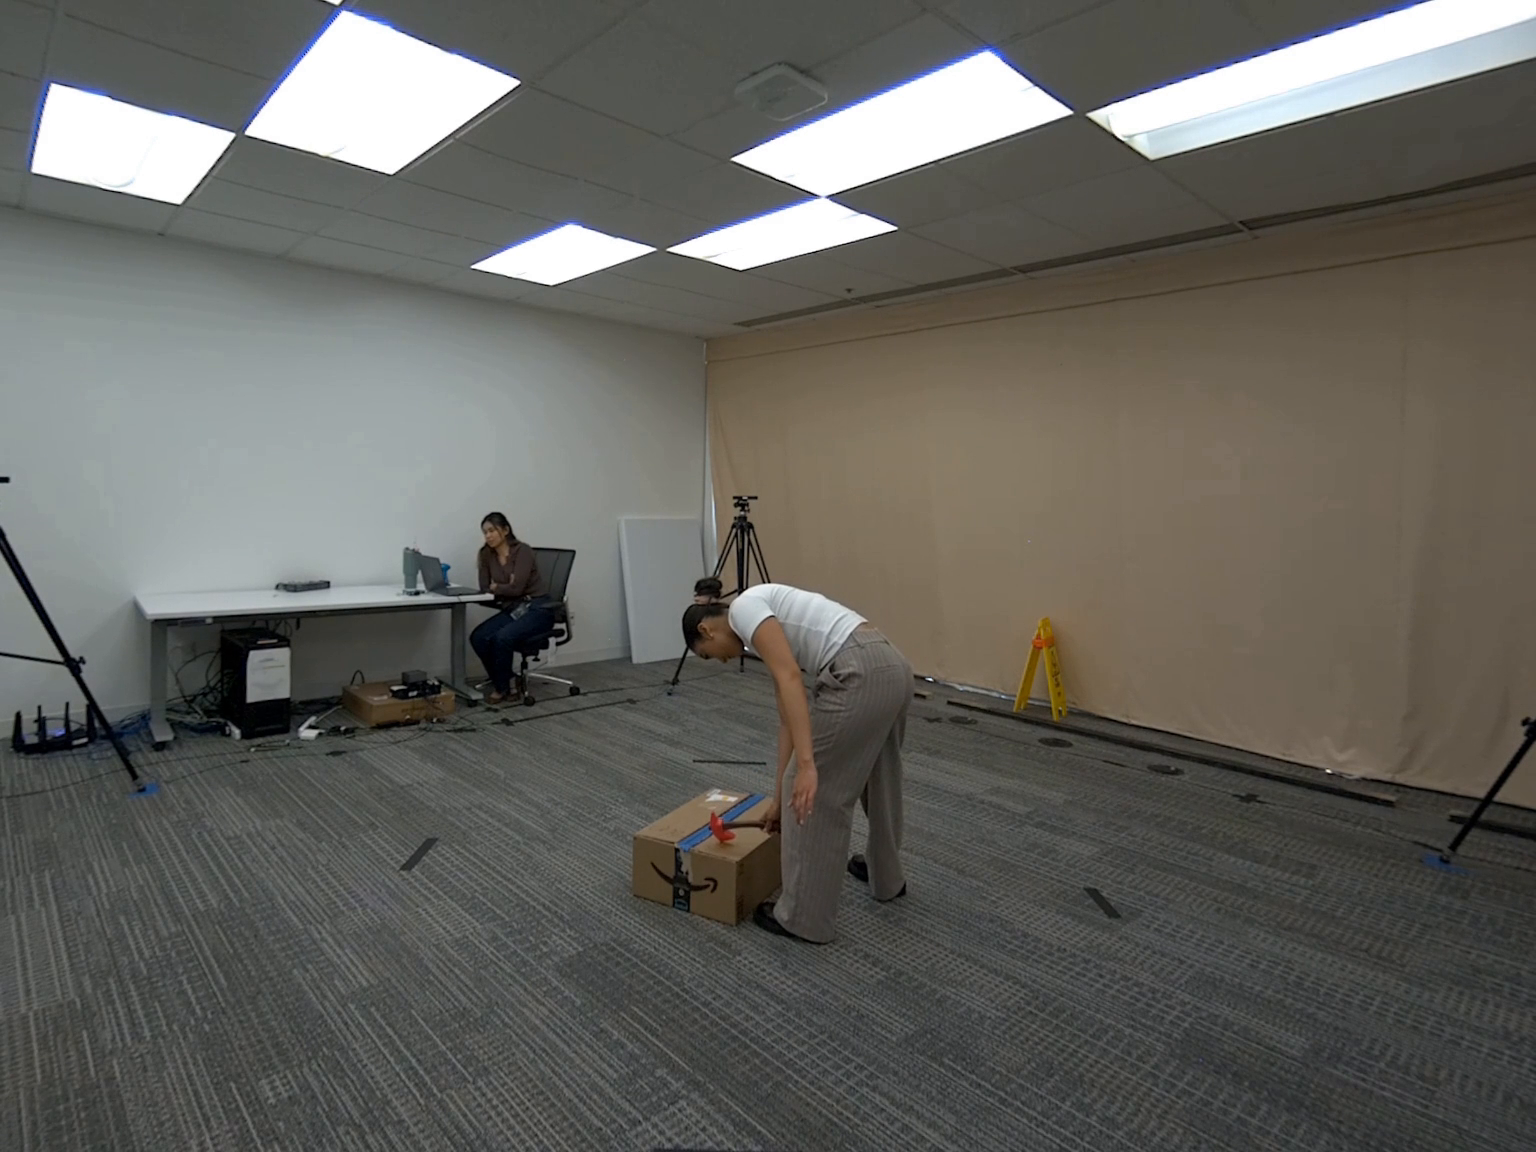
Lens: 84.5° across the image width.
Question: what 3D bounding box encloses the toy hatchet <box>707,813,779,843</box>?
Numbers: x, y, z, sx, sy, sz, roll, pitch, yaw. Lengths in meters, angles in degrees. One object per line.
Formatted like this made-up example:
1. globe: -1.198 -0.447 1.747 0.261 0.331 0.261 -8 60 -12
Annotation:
1. toy hatchet: -0.071 0.863 2.823 0.273 0.129 0.030 9 27 10
